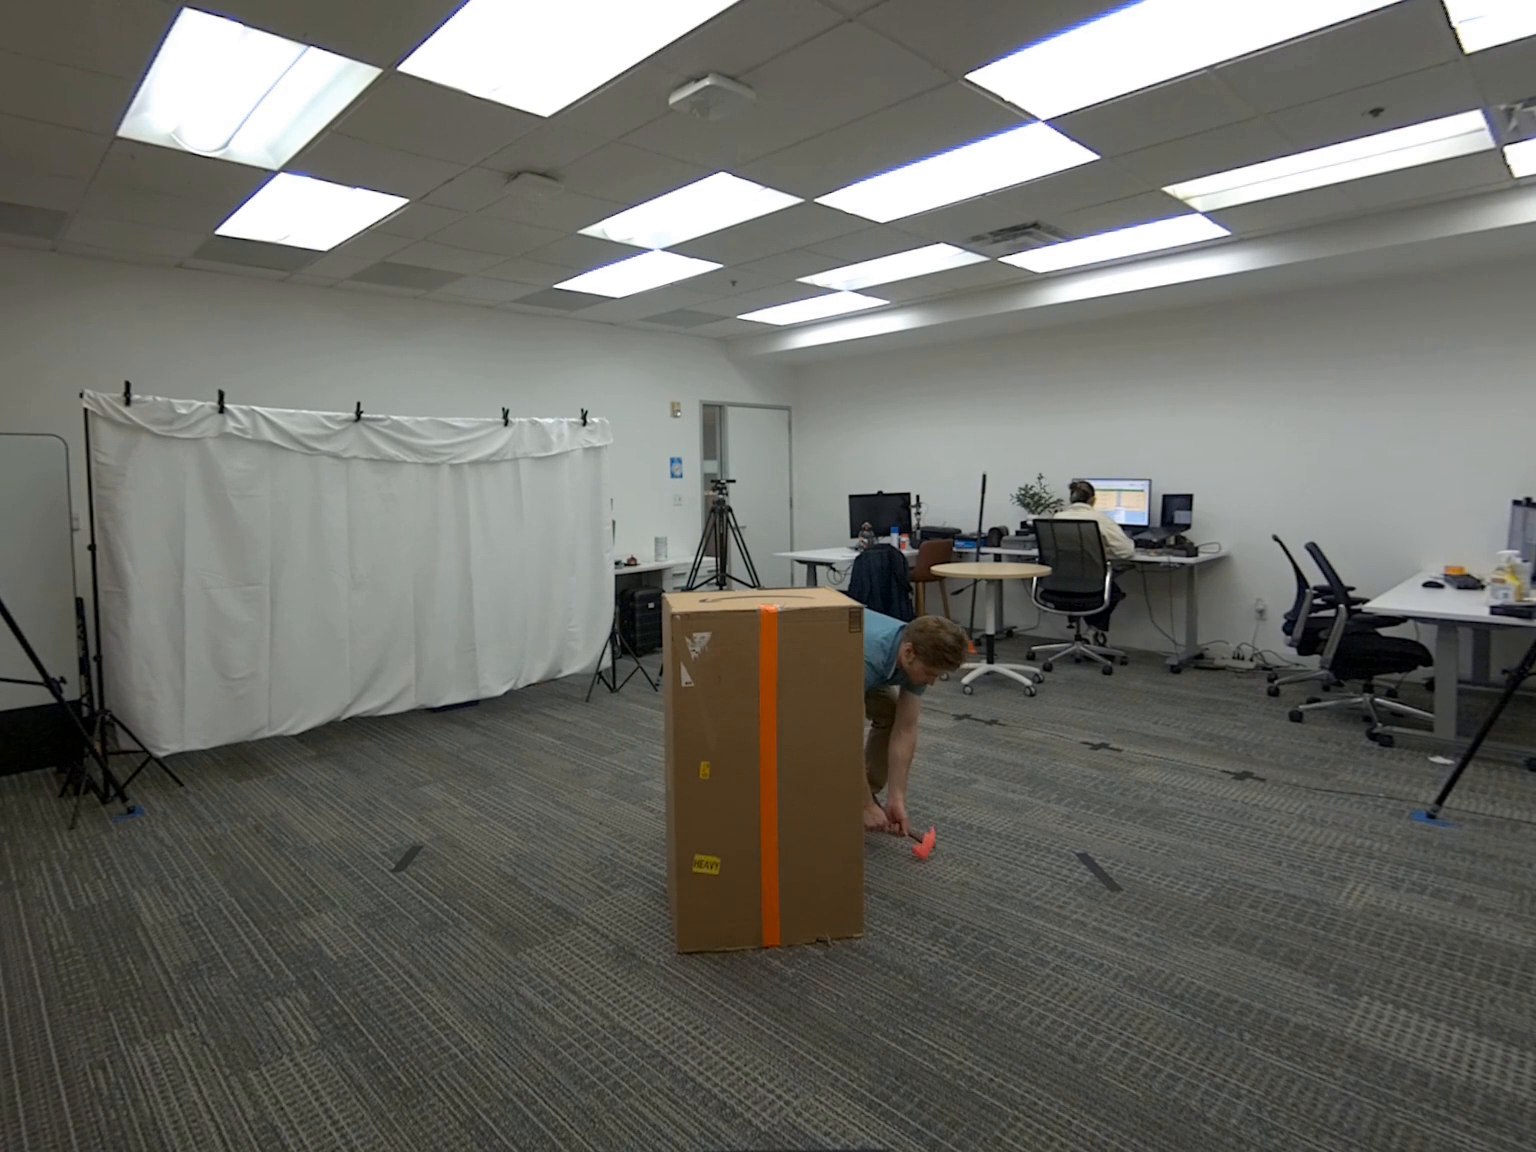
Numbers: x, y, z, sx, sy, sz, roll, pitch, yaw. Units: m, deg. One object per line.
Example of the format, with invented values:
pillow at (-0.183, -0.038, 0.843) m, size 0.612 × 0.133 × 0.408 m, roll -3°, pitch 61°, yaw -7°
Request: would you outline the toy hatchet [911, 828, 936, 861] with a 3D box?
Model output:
toy hatchet at (0.487, 0.967, 3.127) m, size 0.270 × 0.029 × 0.134 m, roll 2°, pitch 47°, yaw 2°
